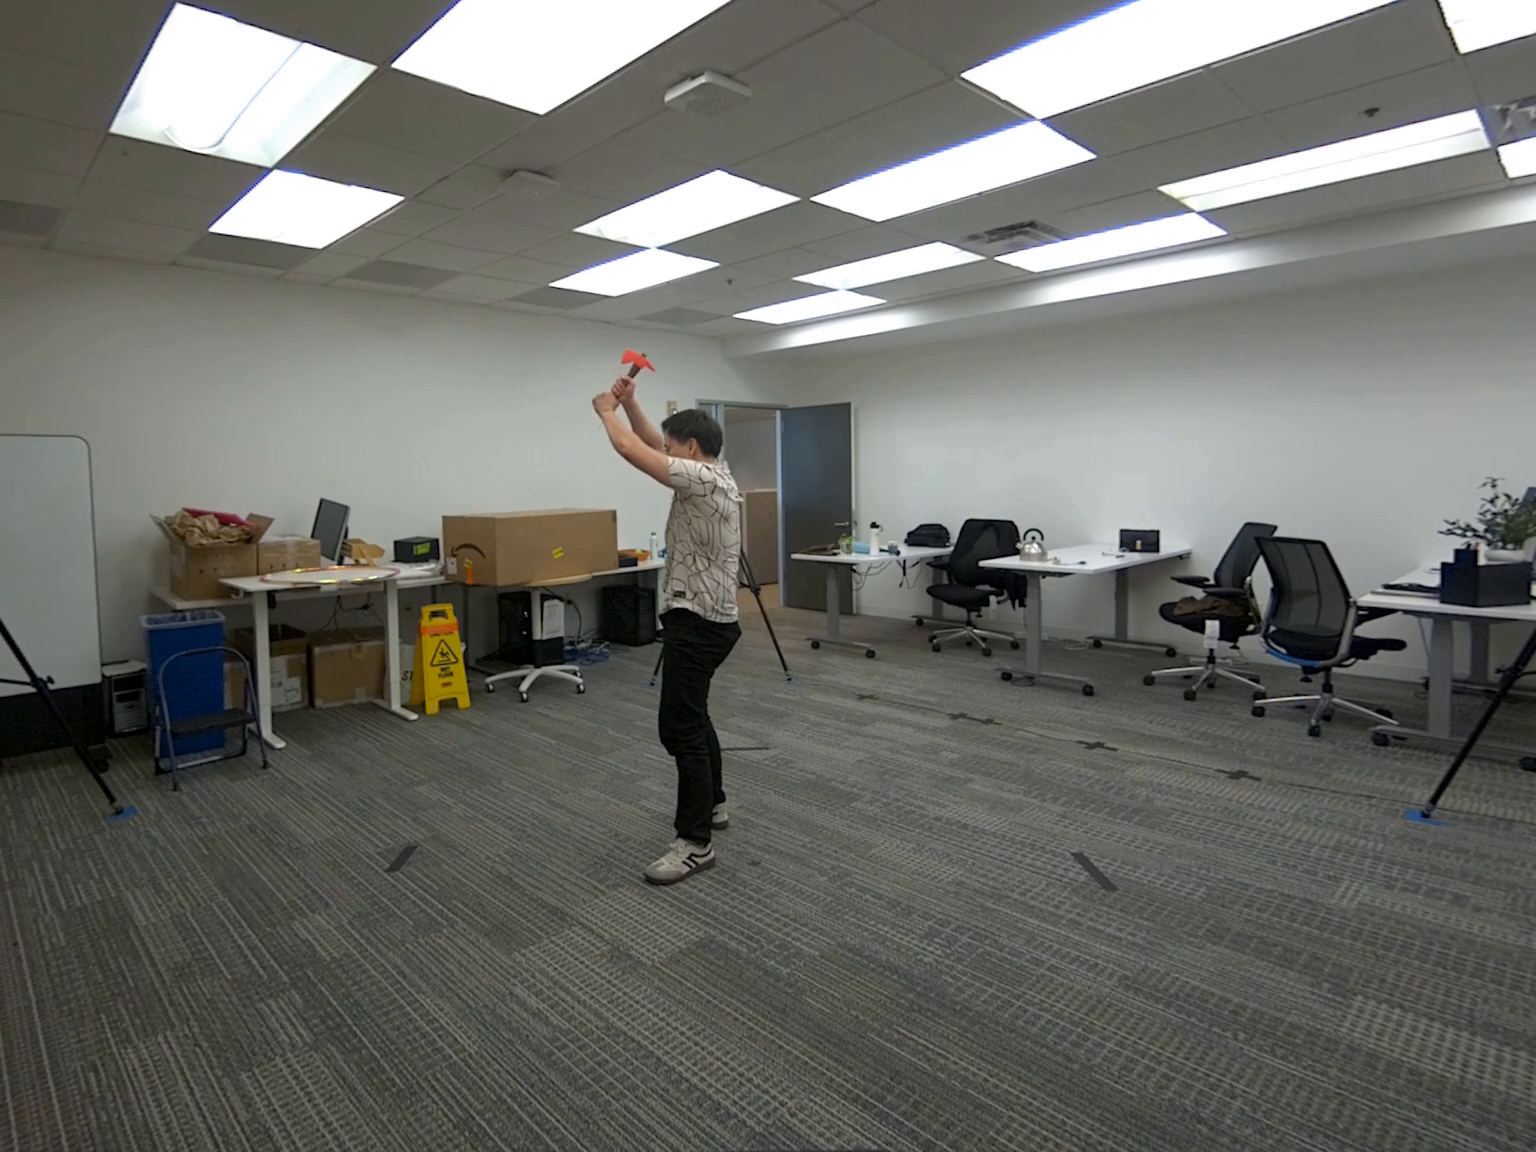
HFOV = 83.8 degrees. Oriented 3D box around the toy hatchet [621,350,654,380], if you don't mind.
[{"bbox_3d":[-0.570,-0.757,3.246,0.270,0.129,0.030,-33,10,-1],"label":"toy hatchet"}]
